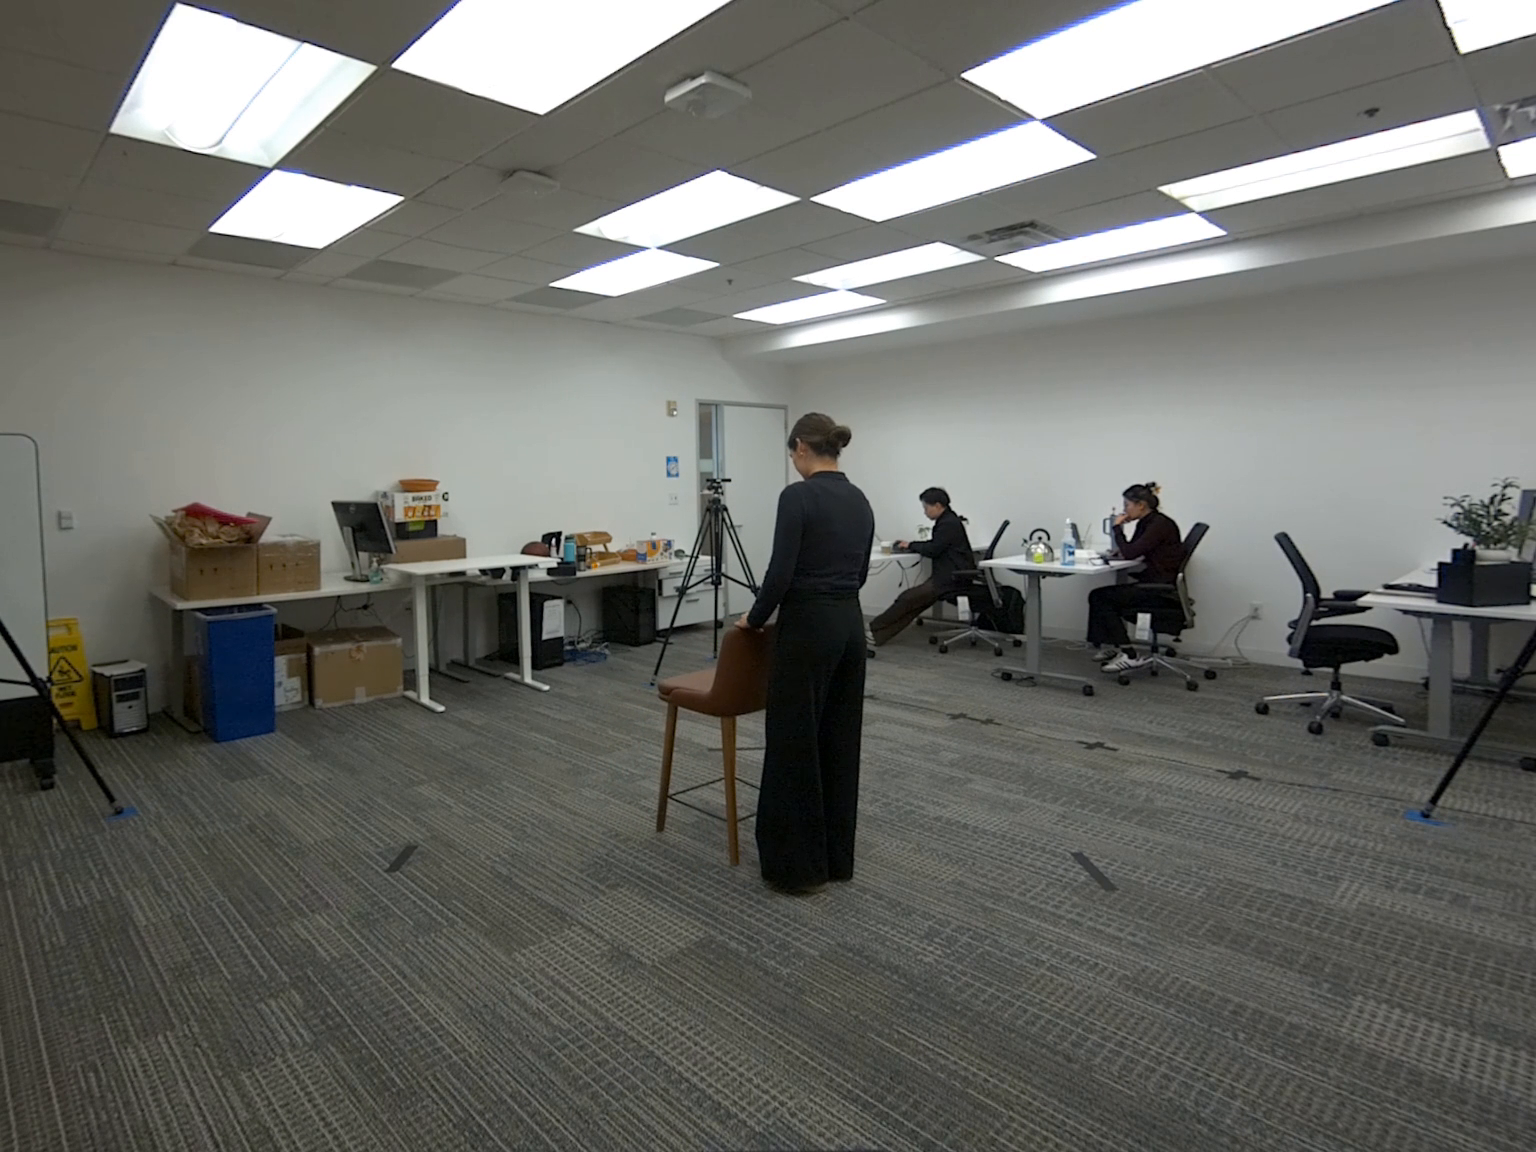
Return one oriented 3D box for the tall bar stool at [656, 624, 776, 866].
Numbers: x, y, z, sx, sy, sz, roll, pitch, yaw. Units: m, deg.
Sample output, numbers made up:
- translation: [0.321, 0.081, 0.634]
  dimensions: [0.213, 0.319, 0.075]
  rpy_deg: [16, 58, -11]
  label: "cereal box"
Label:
- translation: [-0.143, 0.580, 3.334]
  dimensions: [0.444, 0.885, 0.483]
  rpy_deg: [-4, 8, -43]
  label: "tall bar stool"
